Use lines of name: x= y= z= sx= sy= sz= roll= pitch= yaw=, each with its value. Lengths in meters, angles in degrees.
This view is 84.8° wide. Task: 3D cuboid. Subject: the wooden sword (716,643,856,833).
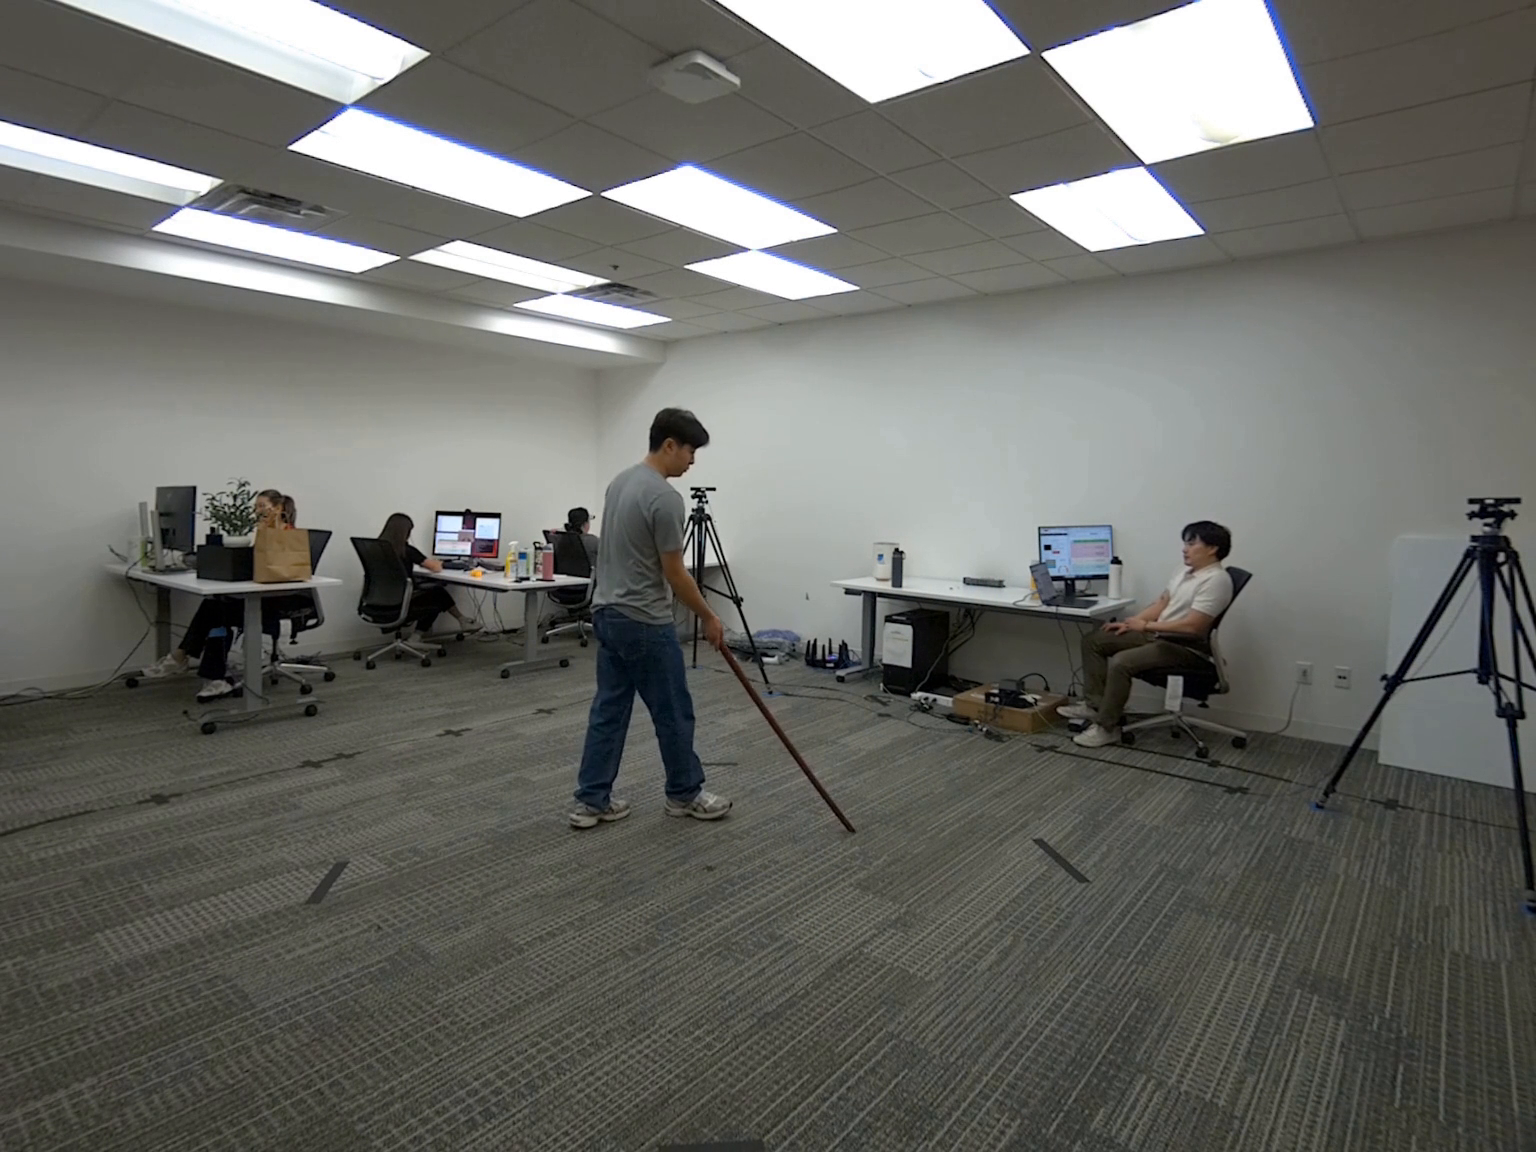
wooden sword: x=0.051 y=0.636 z=3.523 sx=0.051 sy=1.031 sz=0.024 roll=-35 pitch=-4 yaw=2
